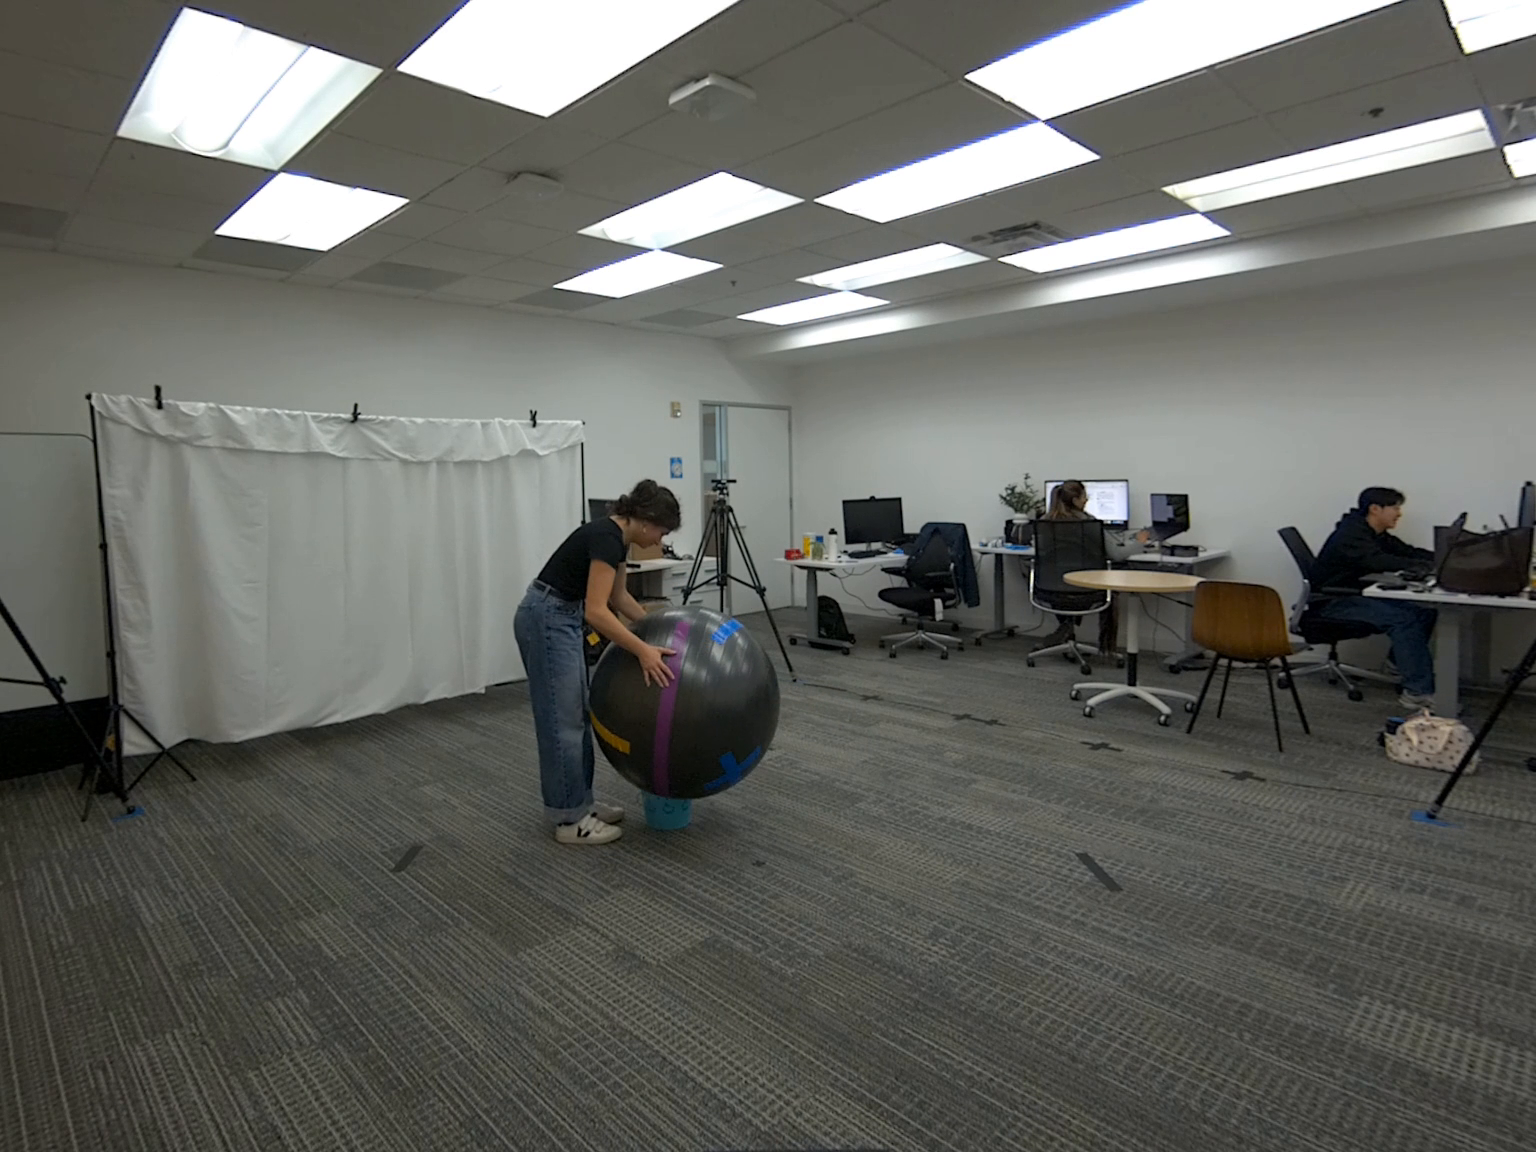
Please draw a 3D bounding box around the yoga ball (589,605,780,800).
[{"bbox_3d":[-0.322,0.491,3.415,0.757,0.755,0.762,-1,5,-2],"label":"yoga ball"}]
